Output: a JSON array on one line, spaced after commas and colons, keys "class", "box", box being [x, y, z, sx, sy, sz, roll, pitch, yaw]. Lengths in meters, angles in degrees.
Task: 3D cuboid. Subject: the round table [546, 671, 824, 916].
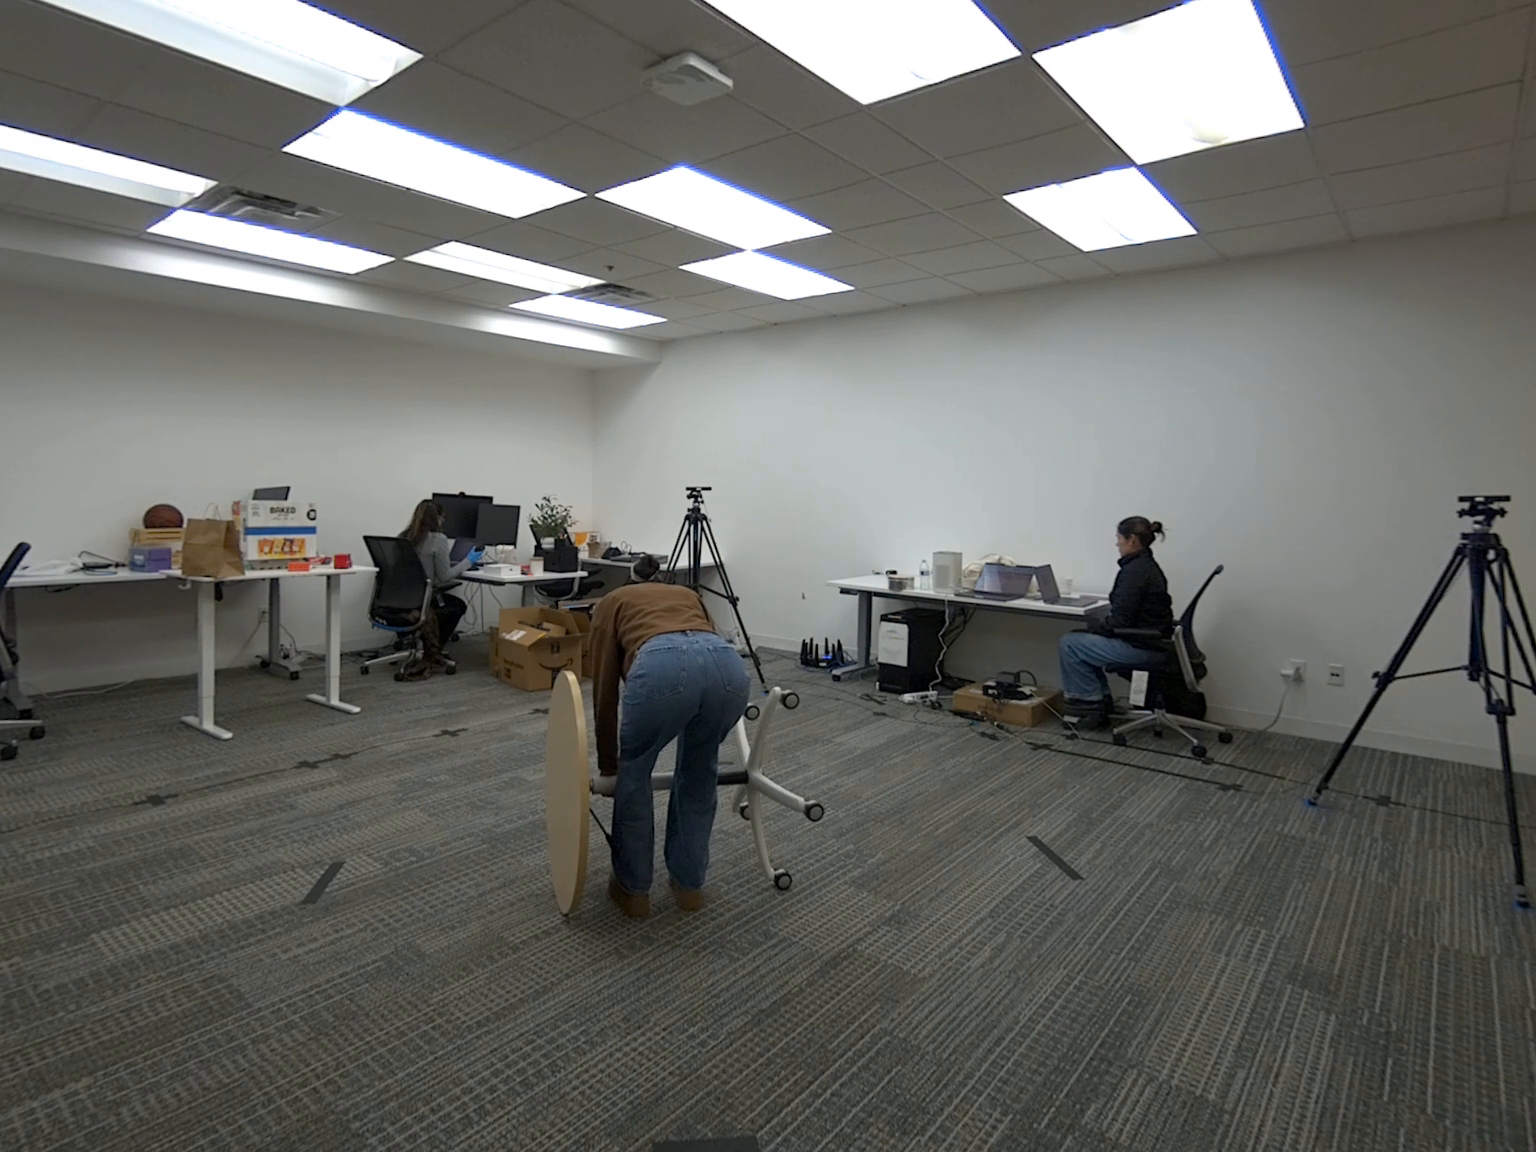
[{"class": "round table", "box": [-0.322, 0.716, 2.947, 0.778, 0.762, 0.782, 2, 3, -20]}]
